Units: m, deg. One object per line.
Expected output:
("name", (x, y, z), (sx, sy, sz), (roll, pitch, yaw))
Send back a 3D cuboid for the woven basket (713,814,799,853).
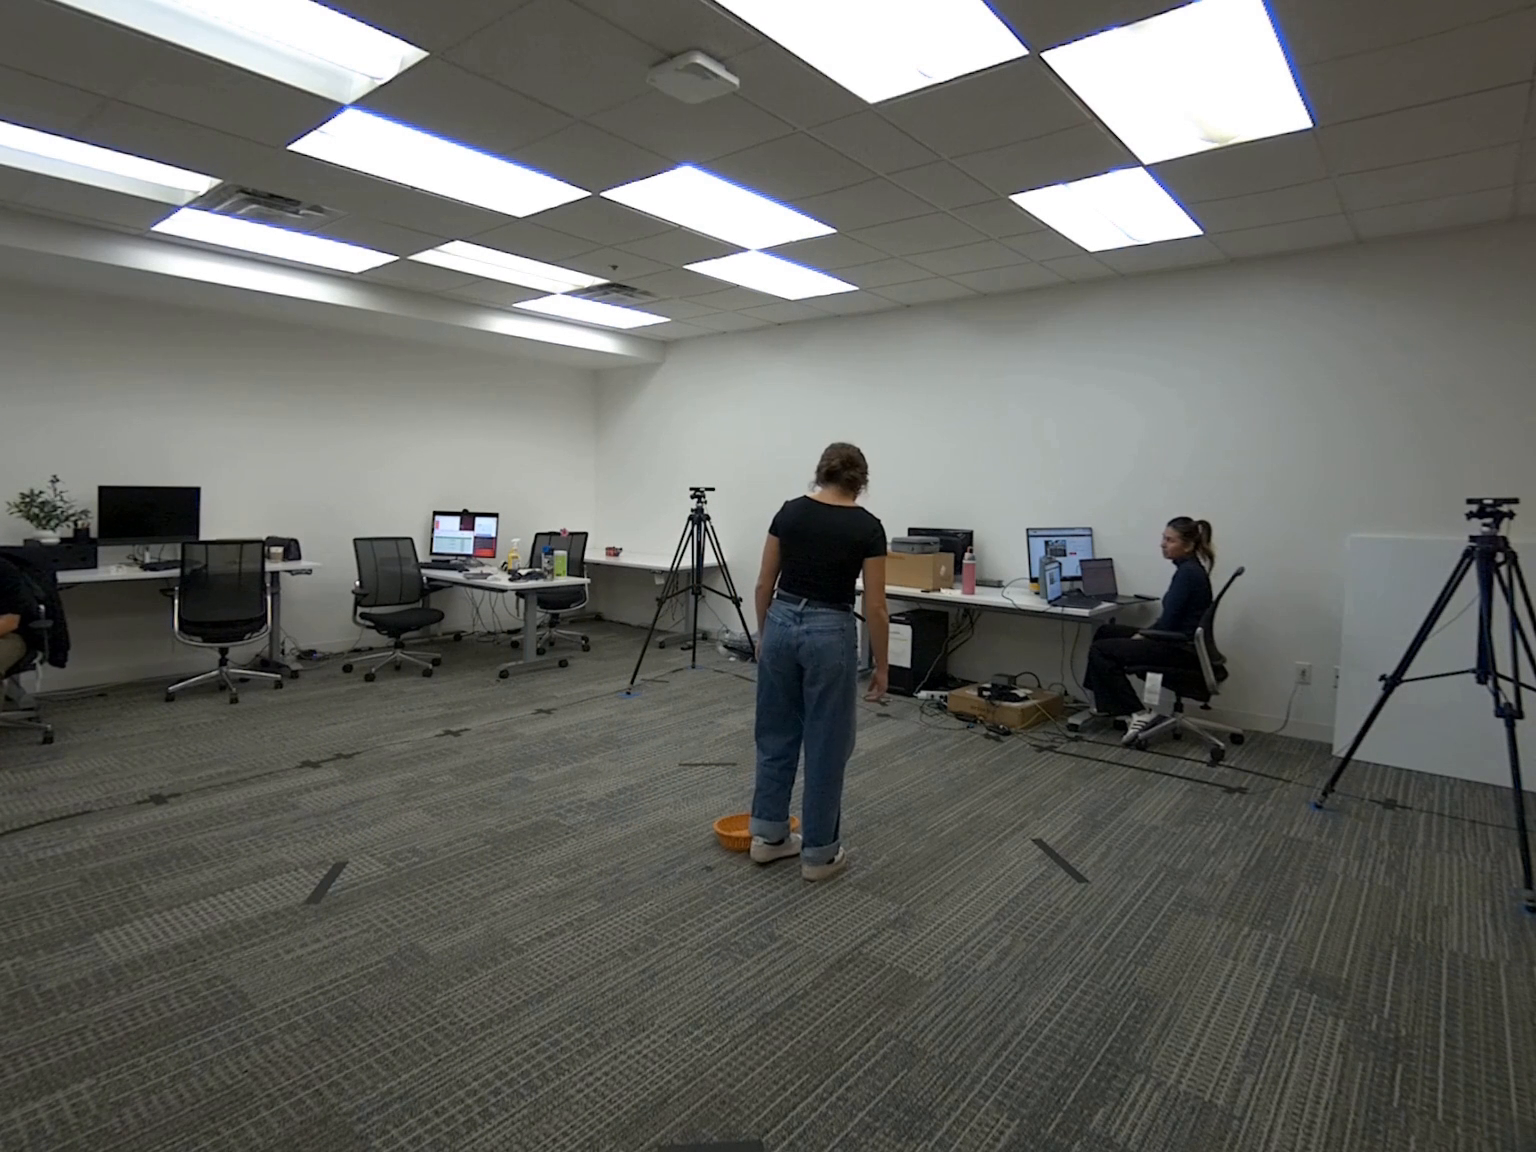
("woven basket", (-0.063, 1.004, 3.366), (0.343, 0.073, 0.258), (-3, 3, -22))
